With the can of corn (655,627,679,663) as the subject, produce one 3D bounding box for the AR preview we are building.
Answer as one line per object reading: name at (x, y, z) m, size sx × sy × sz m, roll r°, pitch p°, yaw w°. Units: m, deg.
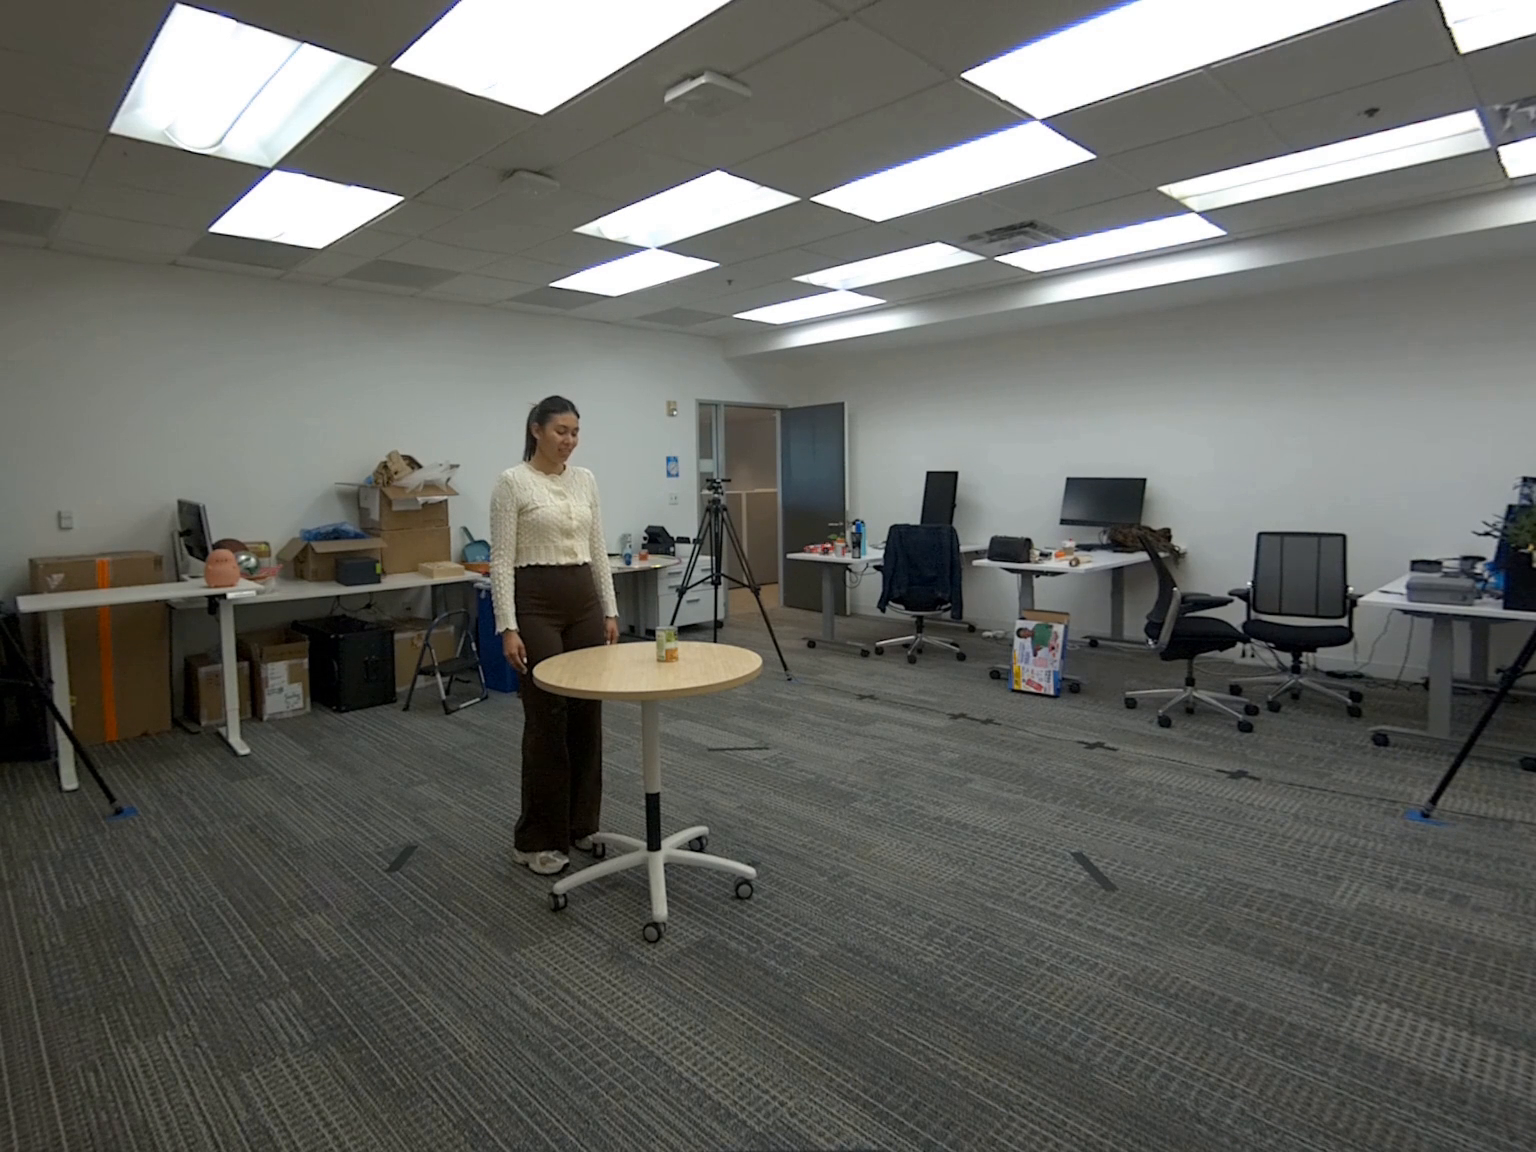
can of corn at (-0.346, 0.232, 2.915) m, size 0.074 × 0.110 × 0.074 m, roll -4°, pitch 4°, yaw -1°
